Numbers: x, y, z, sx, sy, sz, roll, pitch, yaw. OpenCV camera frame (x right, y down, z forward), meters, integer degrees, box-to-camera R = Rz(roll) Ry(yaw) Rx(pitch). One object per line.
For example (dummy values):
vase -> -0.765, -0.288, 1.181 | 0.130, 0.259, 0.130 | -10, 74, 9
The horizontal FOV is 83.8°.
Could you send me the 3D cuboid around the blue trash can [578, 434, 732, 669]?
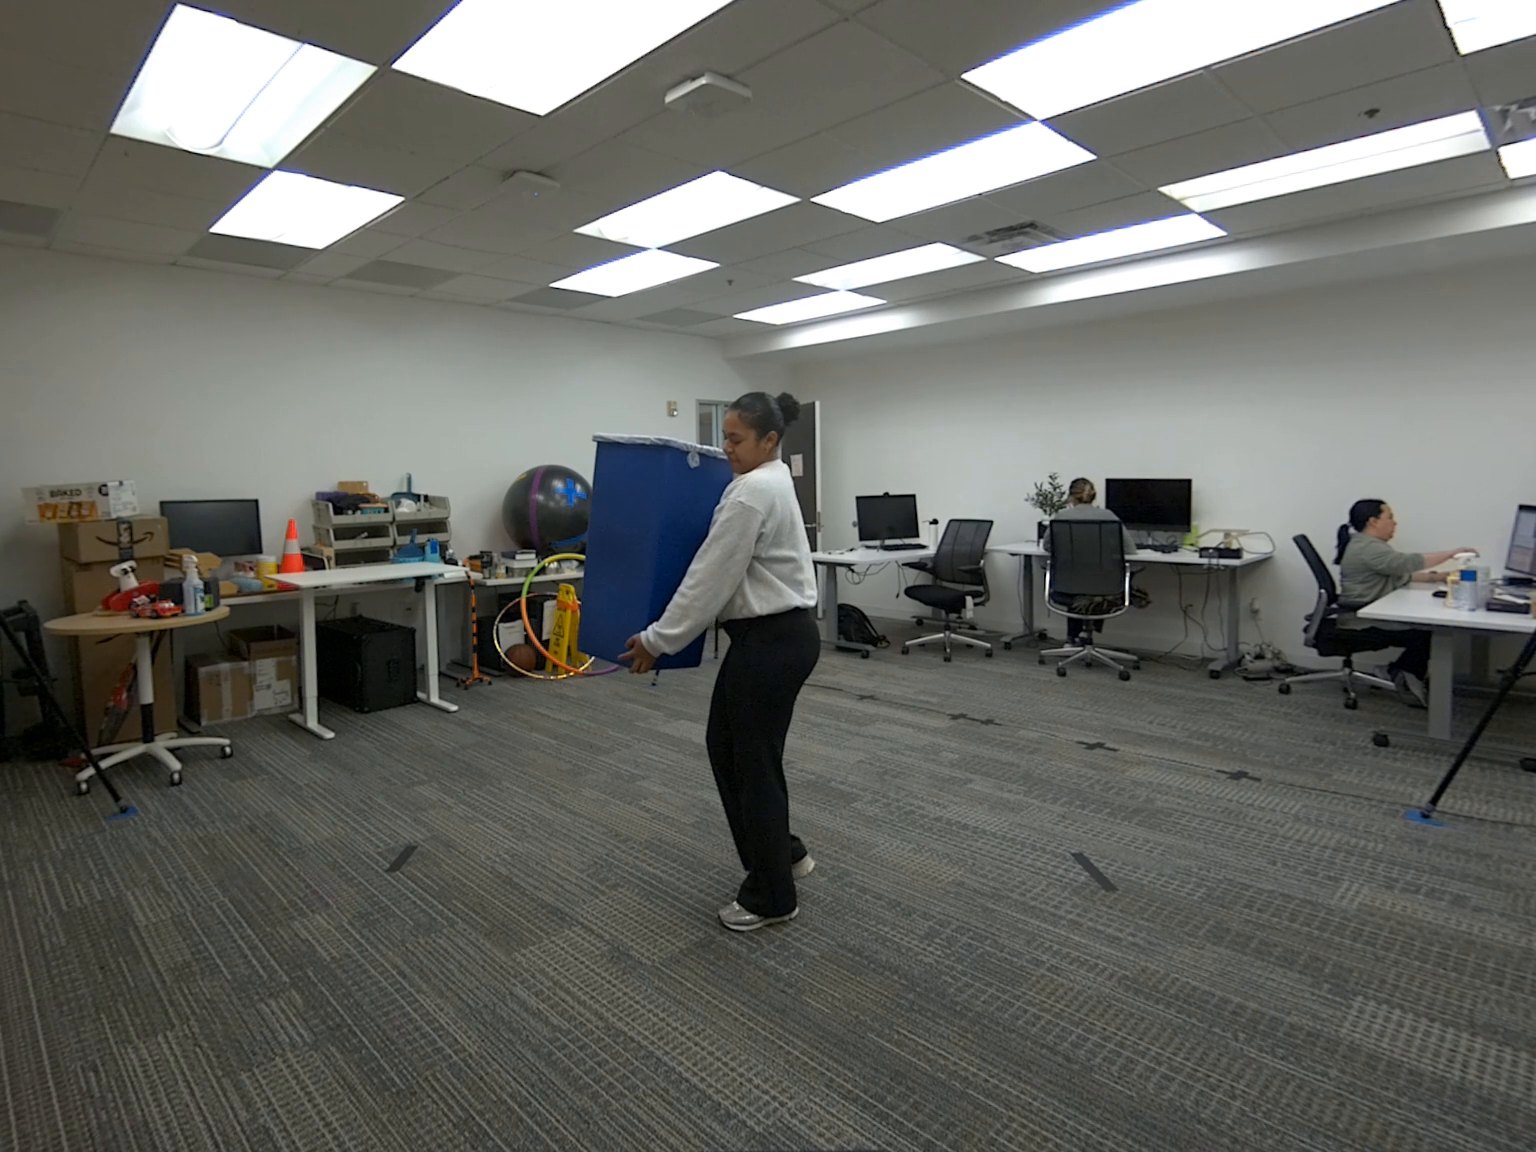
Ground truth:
blue trash can -> -0.375, -0.084, 2.821 | 0.390, 0.713, 0.362 | 9, 2, 38
